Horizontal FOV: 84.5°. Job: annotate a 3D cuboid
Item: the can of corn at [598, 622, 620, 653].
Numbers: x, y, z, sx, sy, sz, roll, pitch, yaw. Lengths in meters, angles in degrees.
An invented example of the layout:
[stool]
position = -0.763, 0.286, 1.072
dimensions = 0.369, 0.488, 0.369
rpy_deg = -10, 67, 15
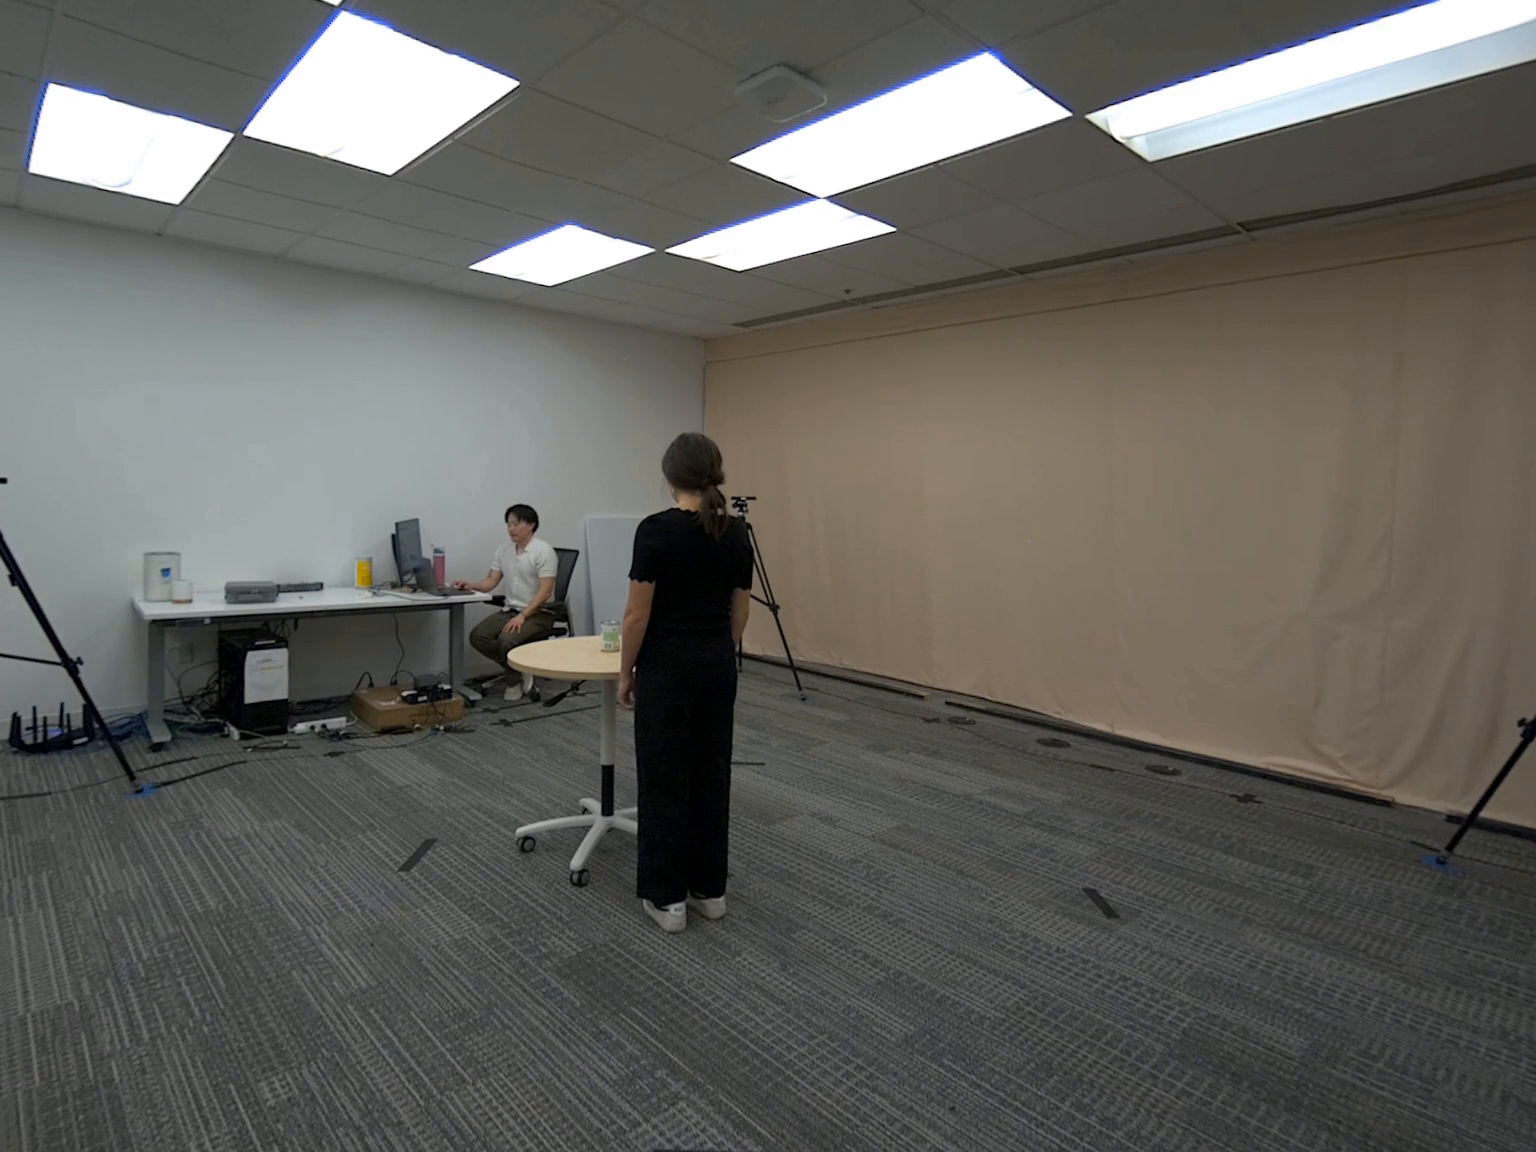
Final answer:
[can of corn]
position = -0.631, 0.239, 3.292
dimensions = 0.074, 0.111, 0.074
rpy_deg = 1, 1, -1
